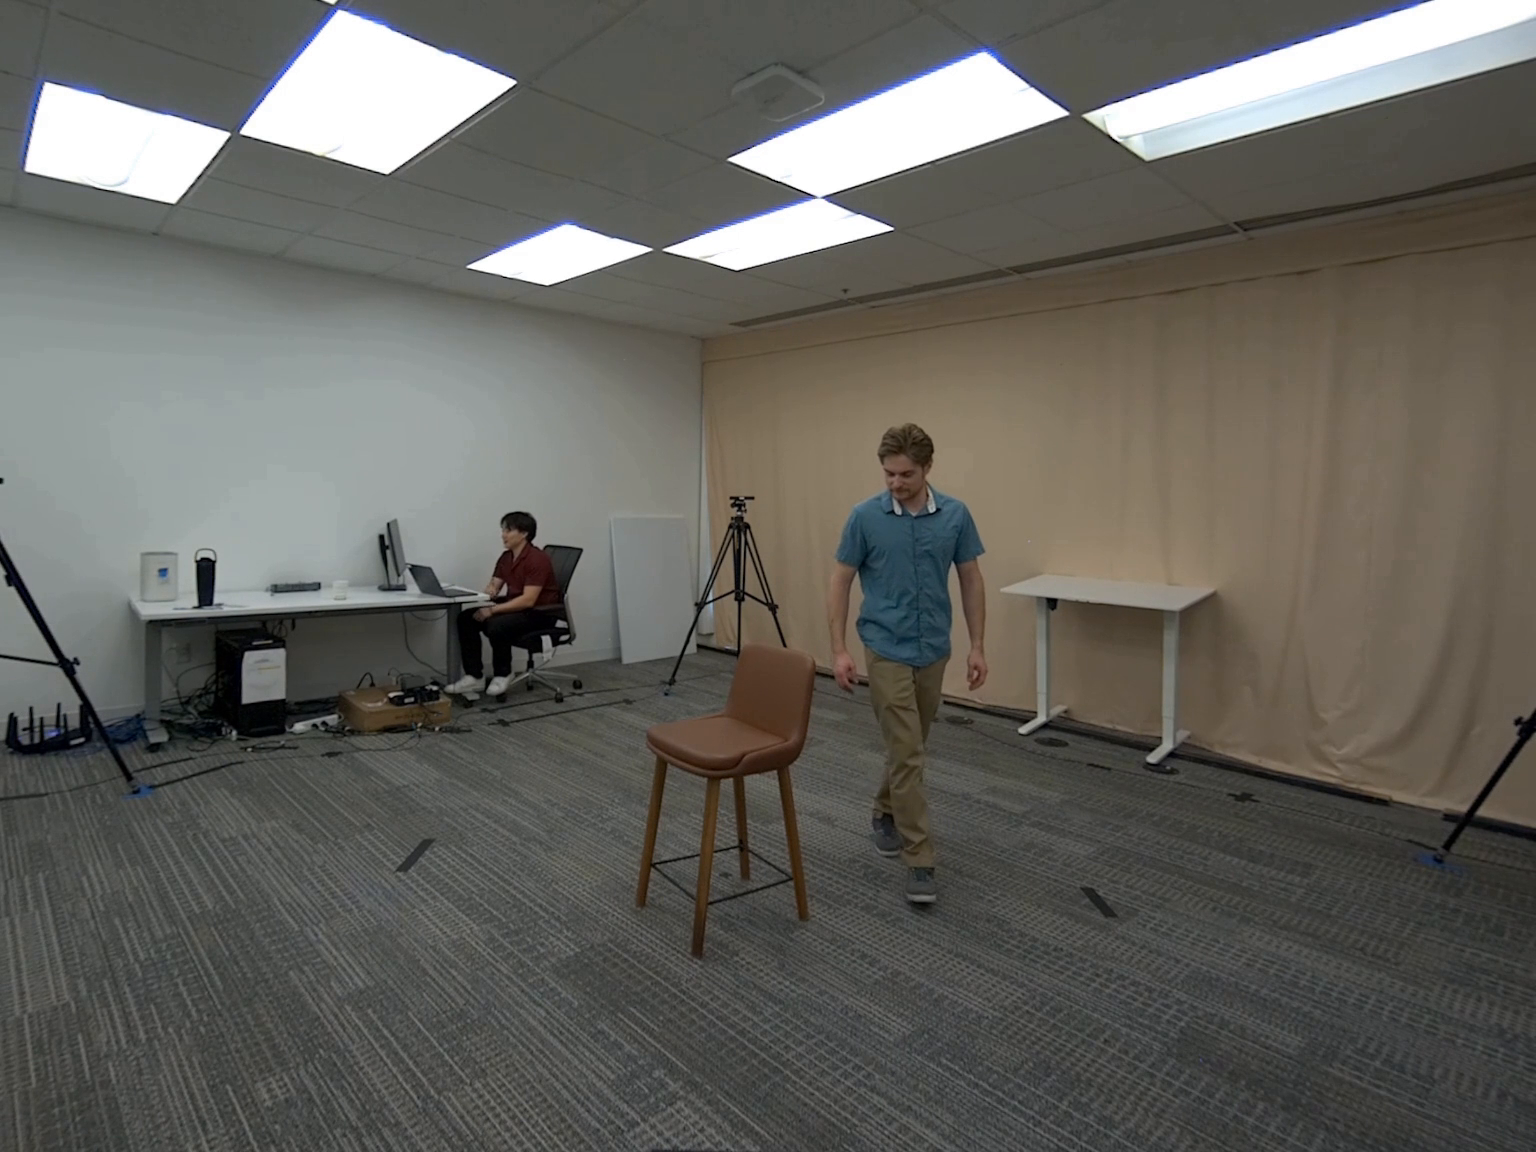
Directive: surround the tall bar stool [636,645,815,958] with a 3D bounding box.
[{"bbox_3d":[-0.142,0.698,2.799,0.457,0.888,0.467,1,2,-35],"label":"tall bar stool"}]
